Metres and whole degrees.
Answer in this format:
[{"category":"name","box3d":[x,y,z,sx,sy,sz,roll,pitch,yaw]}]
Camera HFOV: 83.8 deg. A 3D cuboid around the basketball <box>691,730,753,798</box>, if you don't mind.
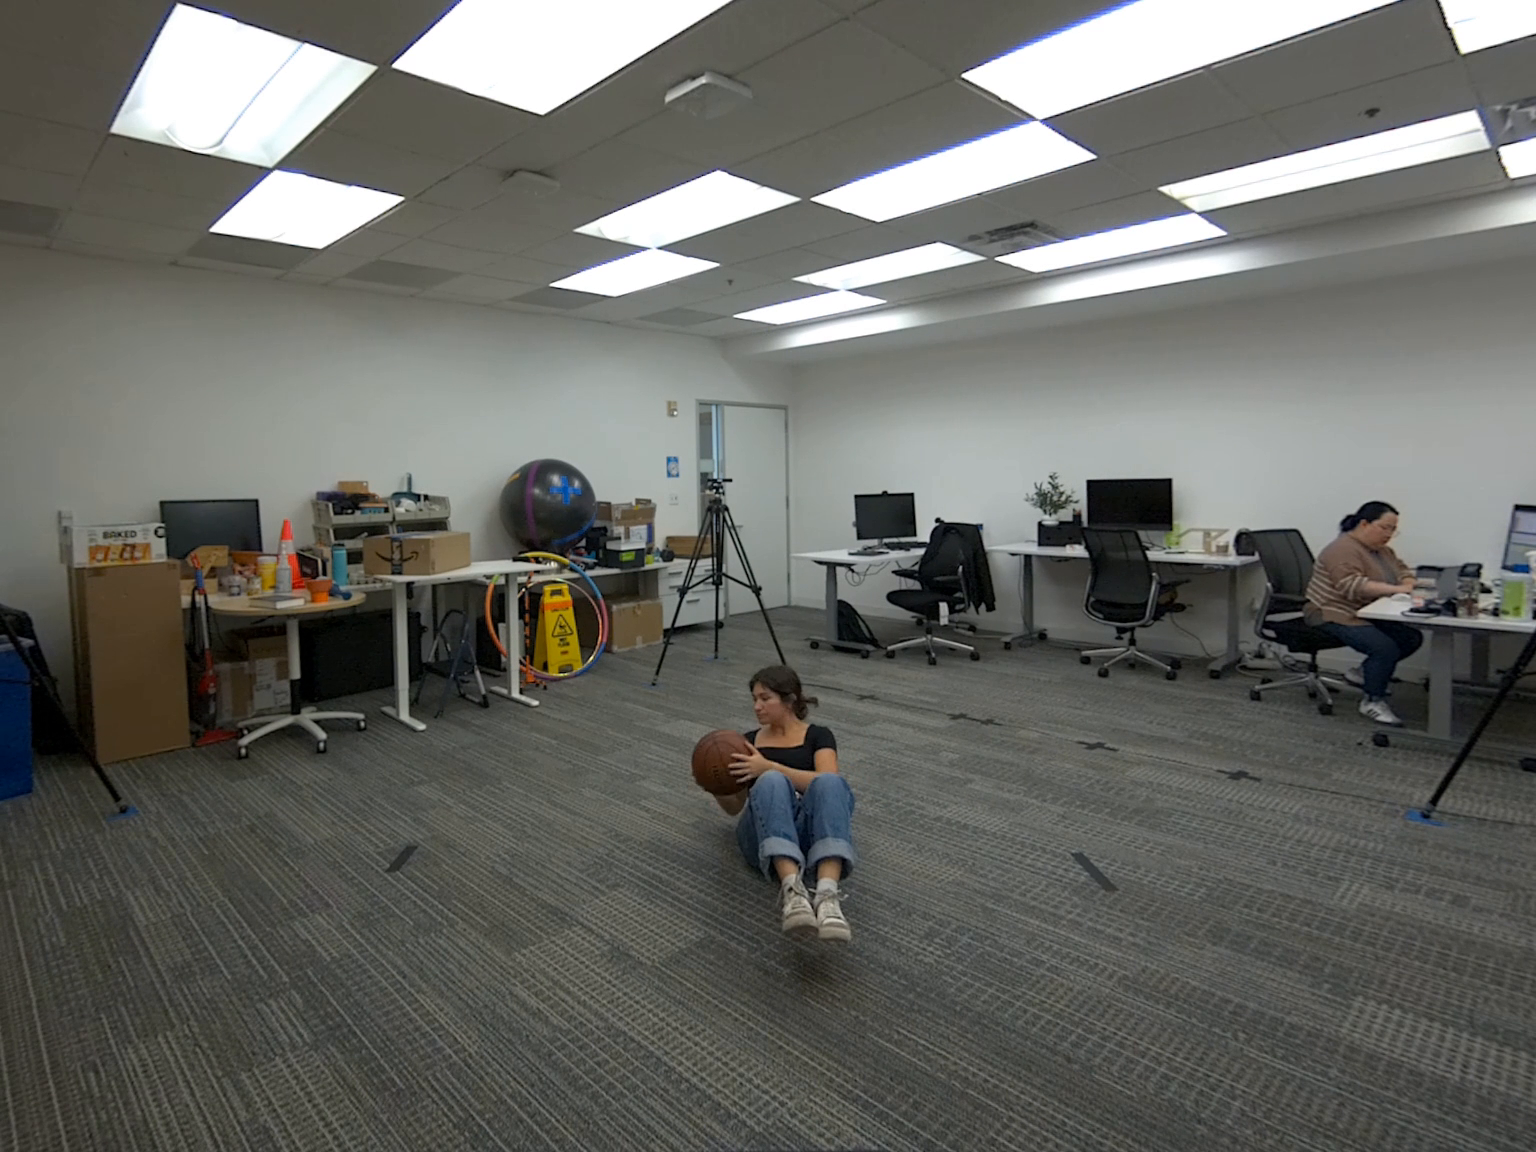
[{"category":"basketball","box3d":[-0.155,0.692,3.156,0.236,0.235,0.237,-1,5,-2]}]
